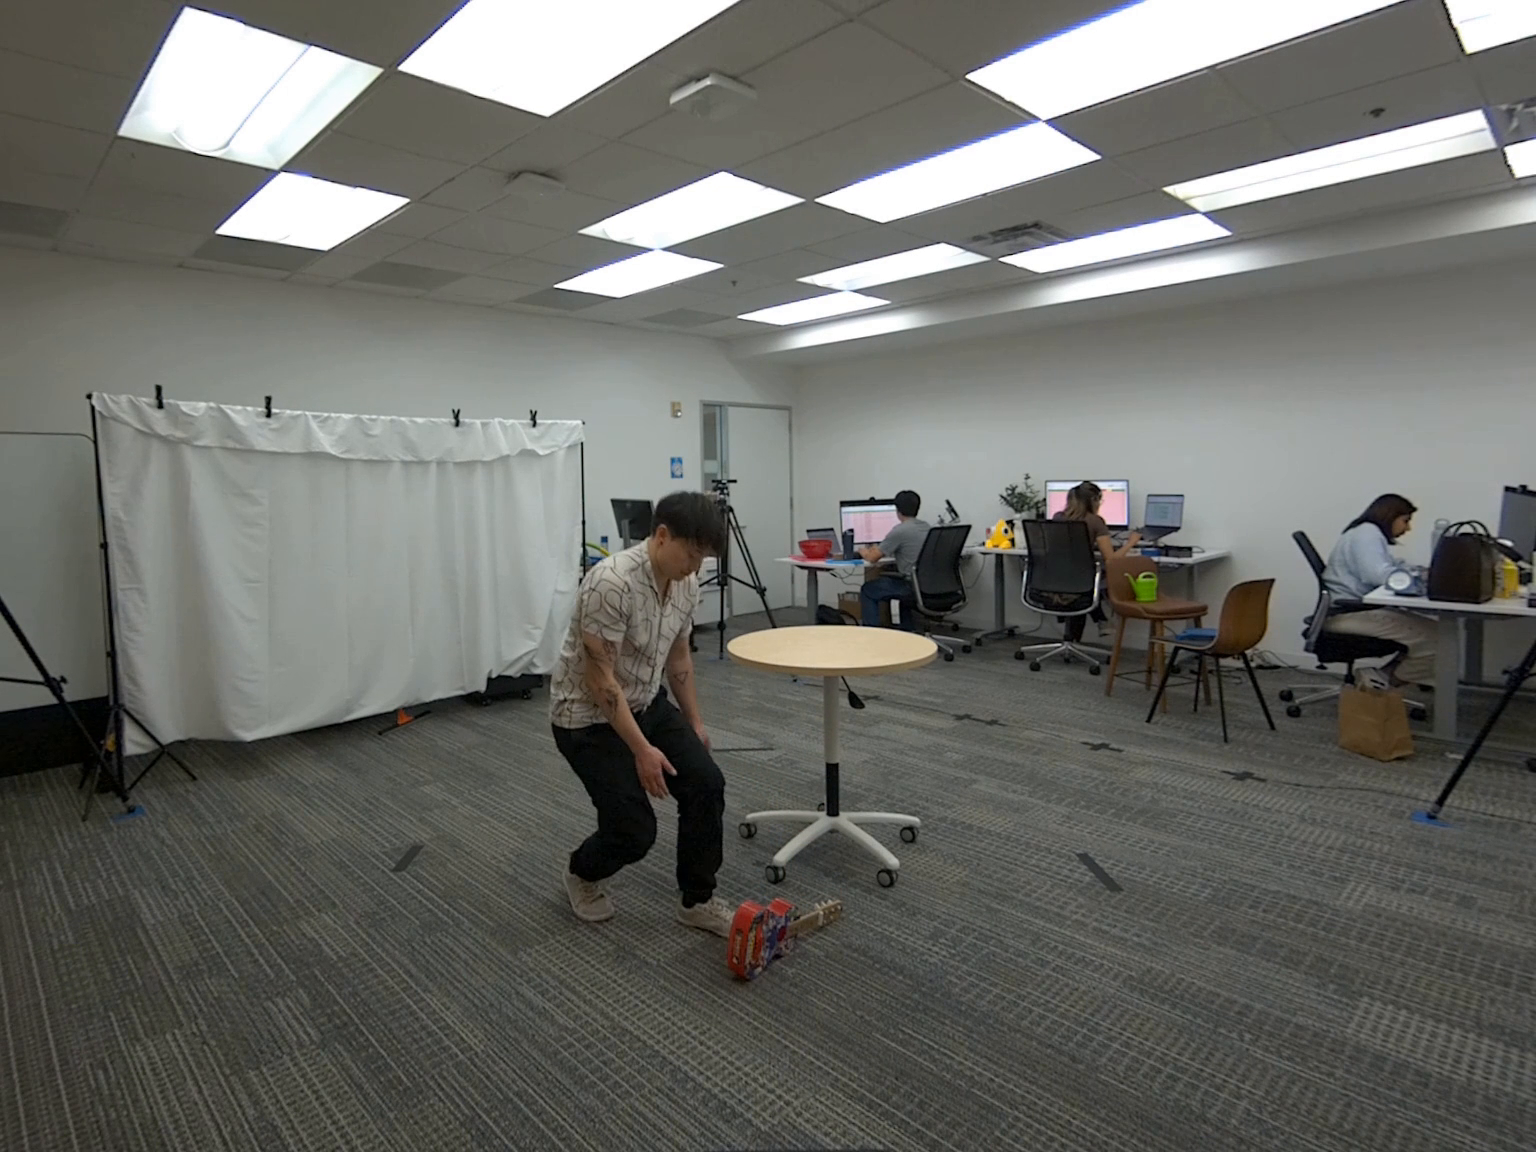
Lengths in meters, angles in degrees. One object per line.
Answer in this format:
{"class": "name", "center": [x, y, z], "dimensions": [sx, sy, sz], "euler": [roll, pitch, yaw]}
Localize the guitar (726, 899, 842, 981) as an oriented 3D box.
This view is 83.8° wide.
{"class": "guitar", "center": [0.056, 1.063, 2.550], "dimensions": [0.073, 0.194, 0.480], "euler": [7, -8, 39]}
